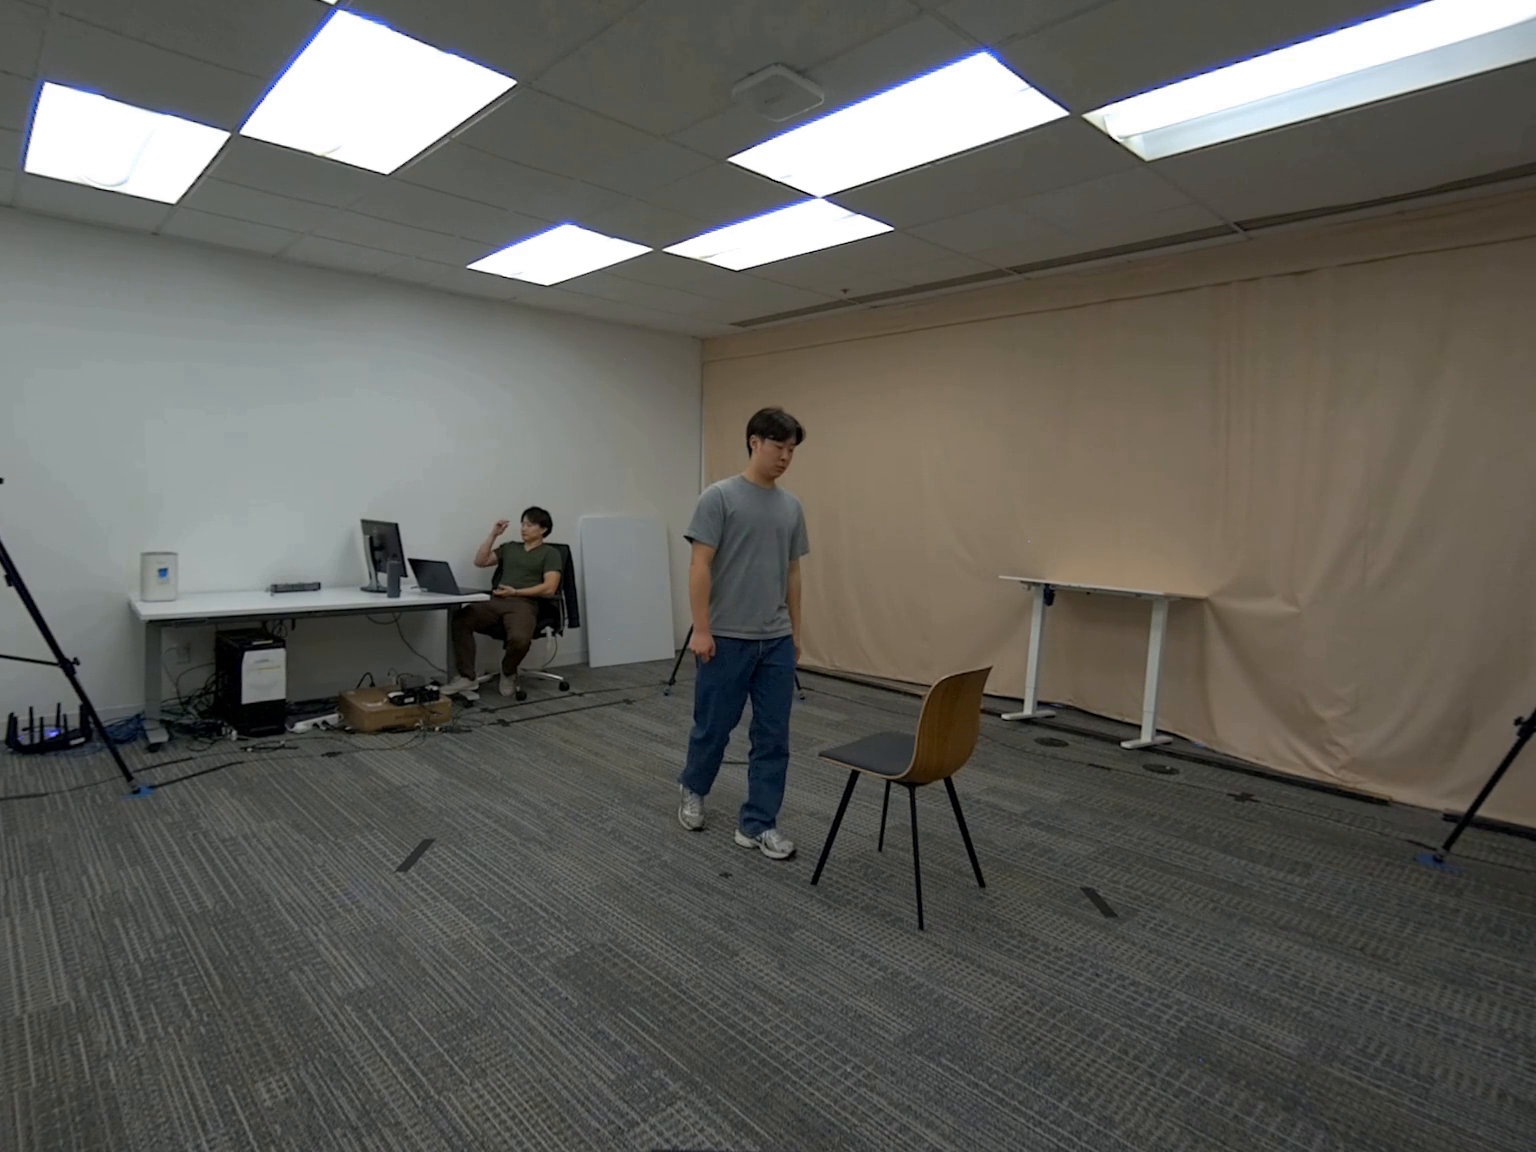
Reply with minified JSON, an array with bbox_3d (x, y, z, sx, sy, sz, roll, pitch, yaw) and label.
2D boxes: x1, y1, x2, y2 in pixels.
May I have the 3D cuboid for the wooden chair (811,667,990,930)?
[{"bbox_3d":[0.474,0.698,3.022,0.537,0.873,0.467,11,8,41],"label":"wooden chair"}]
